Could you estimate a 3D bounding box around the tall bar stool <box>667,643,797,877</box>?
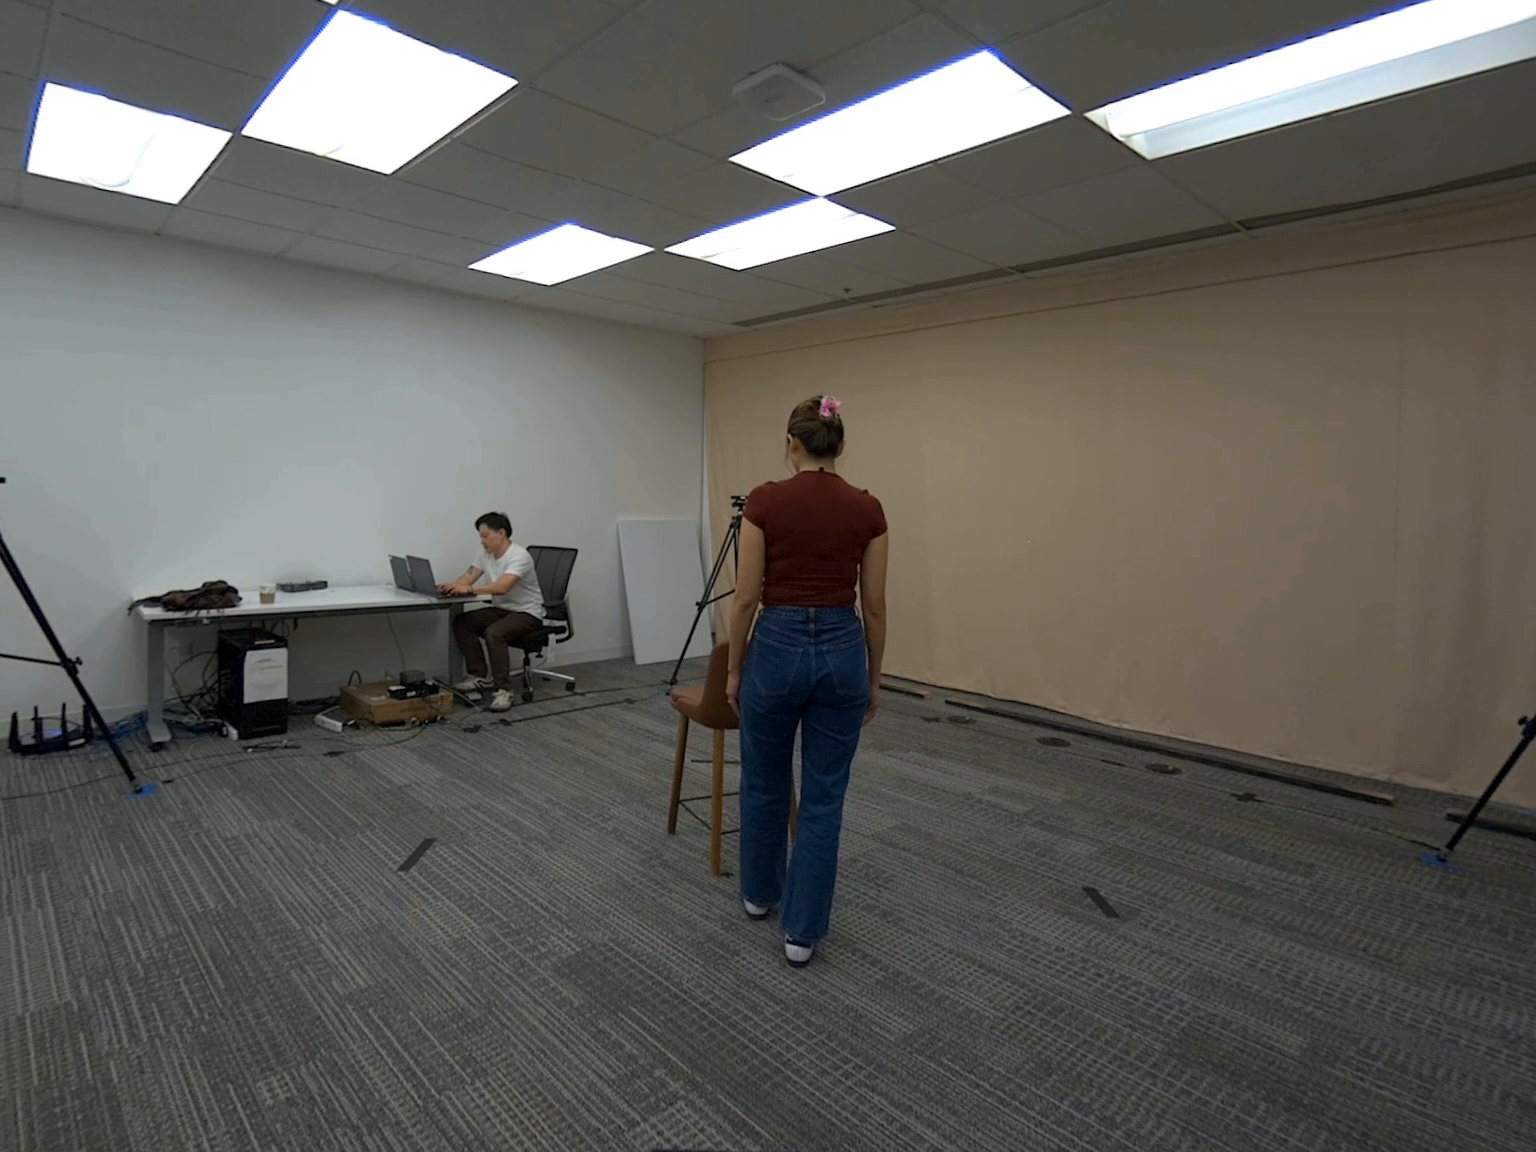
[{"bbox_3d":[-0.130,0.645,3.330,0.448,0.886,0.478,-1,6,-26],"label":"tall bar stool"}]
